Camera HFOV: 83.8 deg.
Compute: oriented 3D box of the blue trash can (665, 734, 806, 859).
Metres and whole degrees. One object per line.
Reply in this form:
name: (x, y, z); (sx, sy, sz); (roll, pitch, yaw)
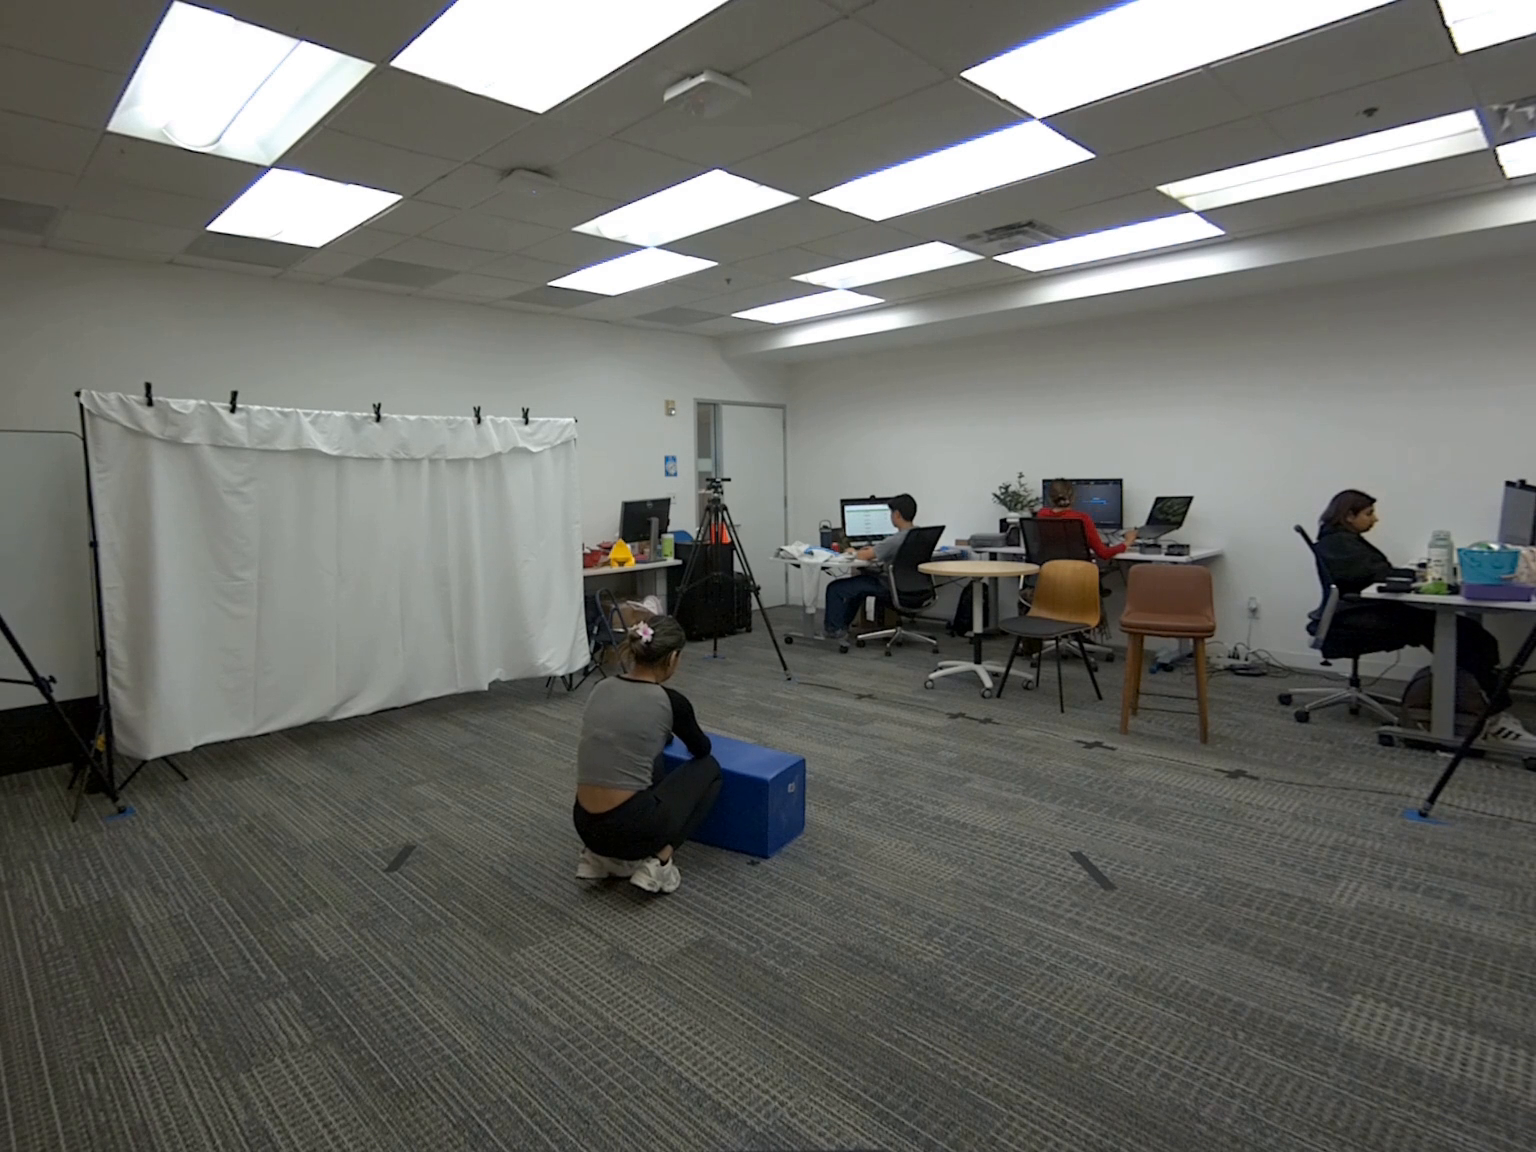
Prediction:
blue trash can: (-0.232, 0.839, 3.424); (0.733, 0.376, 0.365); (5, 6, 31)
